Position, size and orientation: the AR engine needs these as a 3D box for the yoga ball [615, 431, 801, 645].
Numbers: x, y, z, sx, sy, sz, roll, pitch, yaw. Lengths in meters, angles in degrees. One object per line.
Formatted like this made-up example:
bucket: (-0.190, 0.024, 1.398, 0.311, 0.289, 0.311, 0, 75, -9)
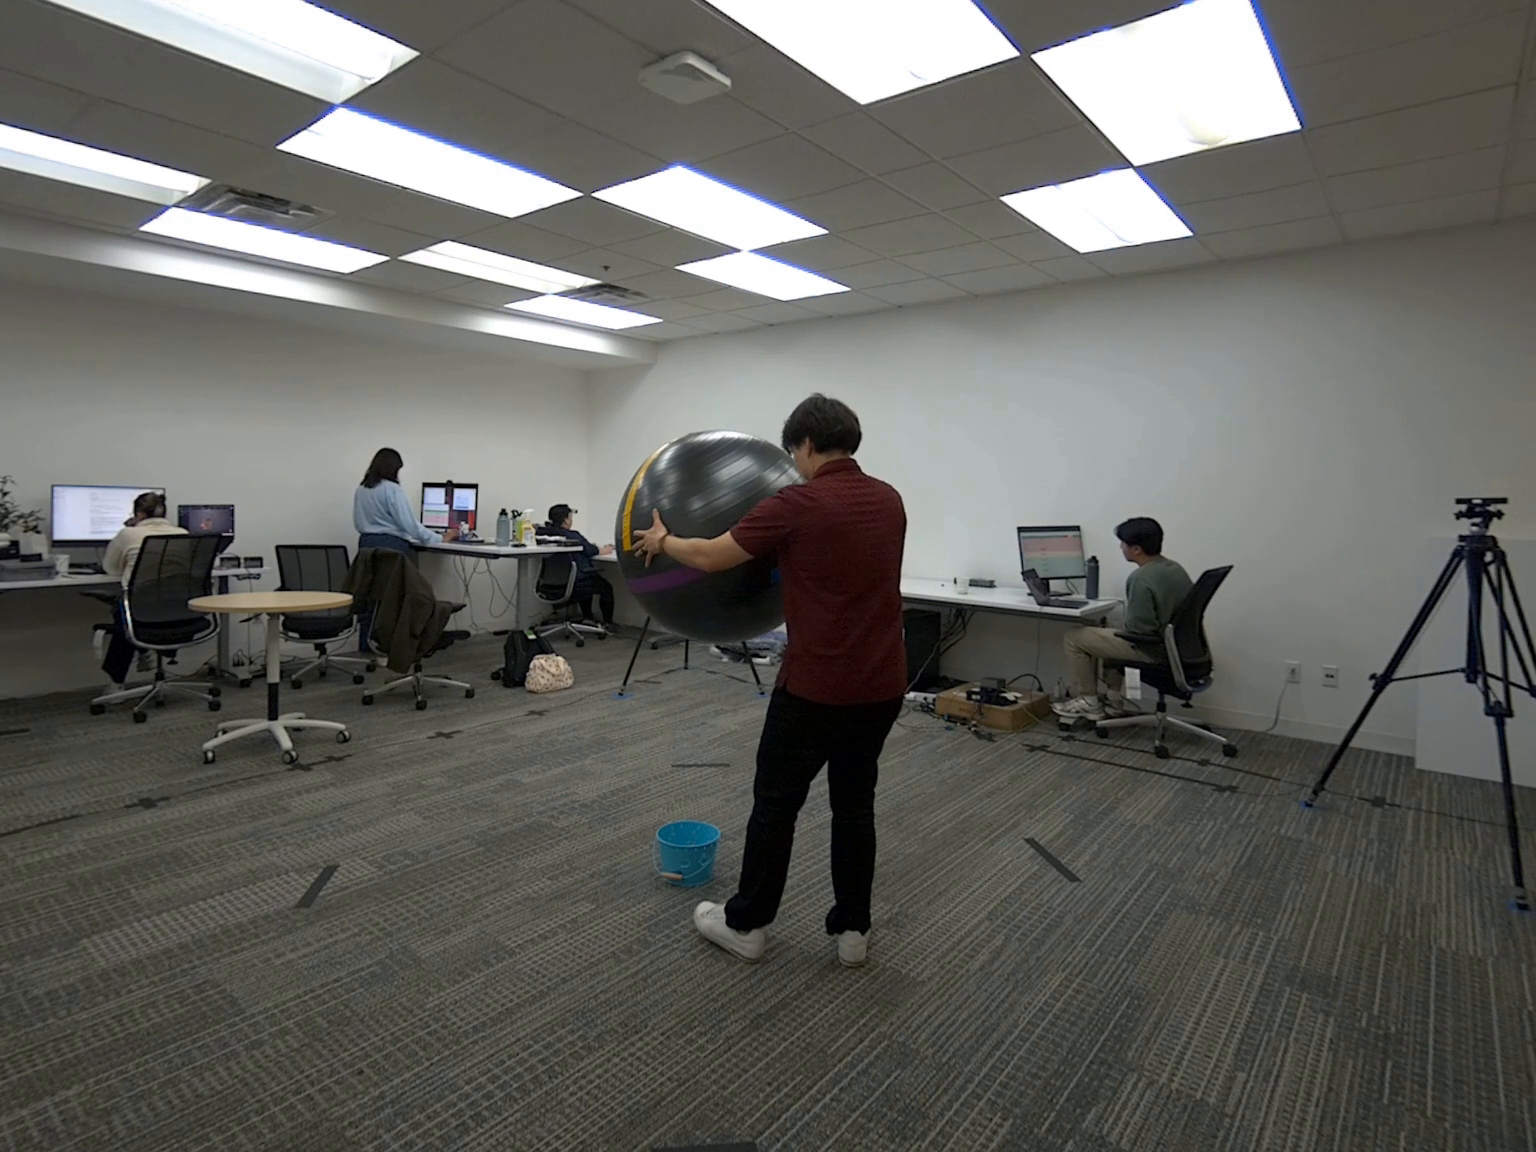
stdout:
yoga ball: (-0.171, -0.141, 3.040, 0.757, 0.756, 0.761, 1, 4, -2)
